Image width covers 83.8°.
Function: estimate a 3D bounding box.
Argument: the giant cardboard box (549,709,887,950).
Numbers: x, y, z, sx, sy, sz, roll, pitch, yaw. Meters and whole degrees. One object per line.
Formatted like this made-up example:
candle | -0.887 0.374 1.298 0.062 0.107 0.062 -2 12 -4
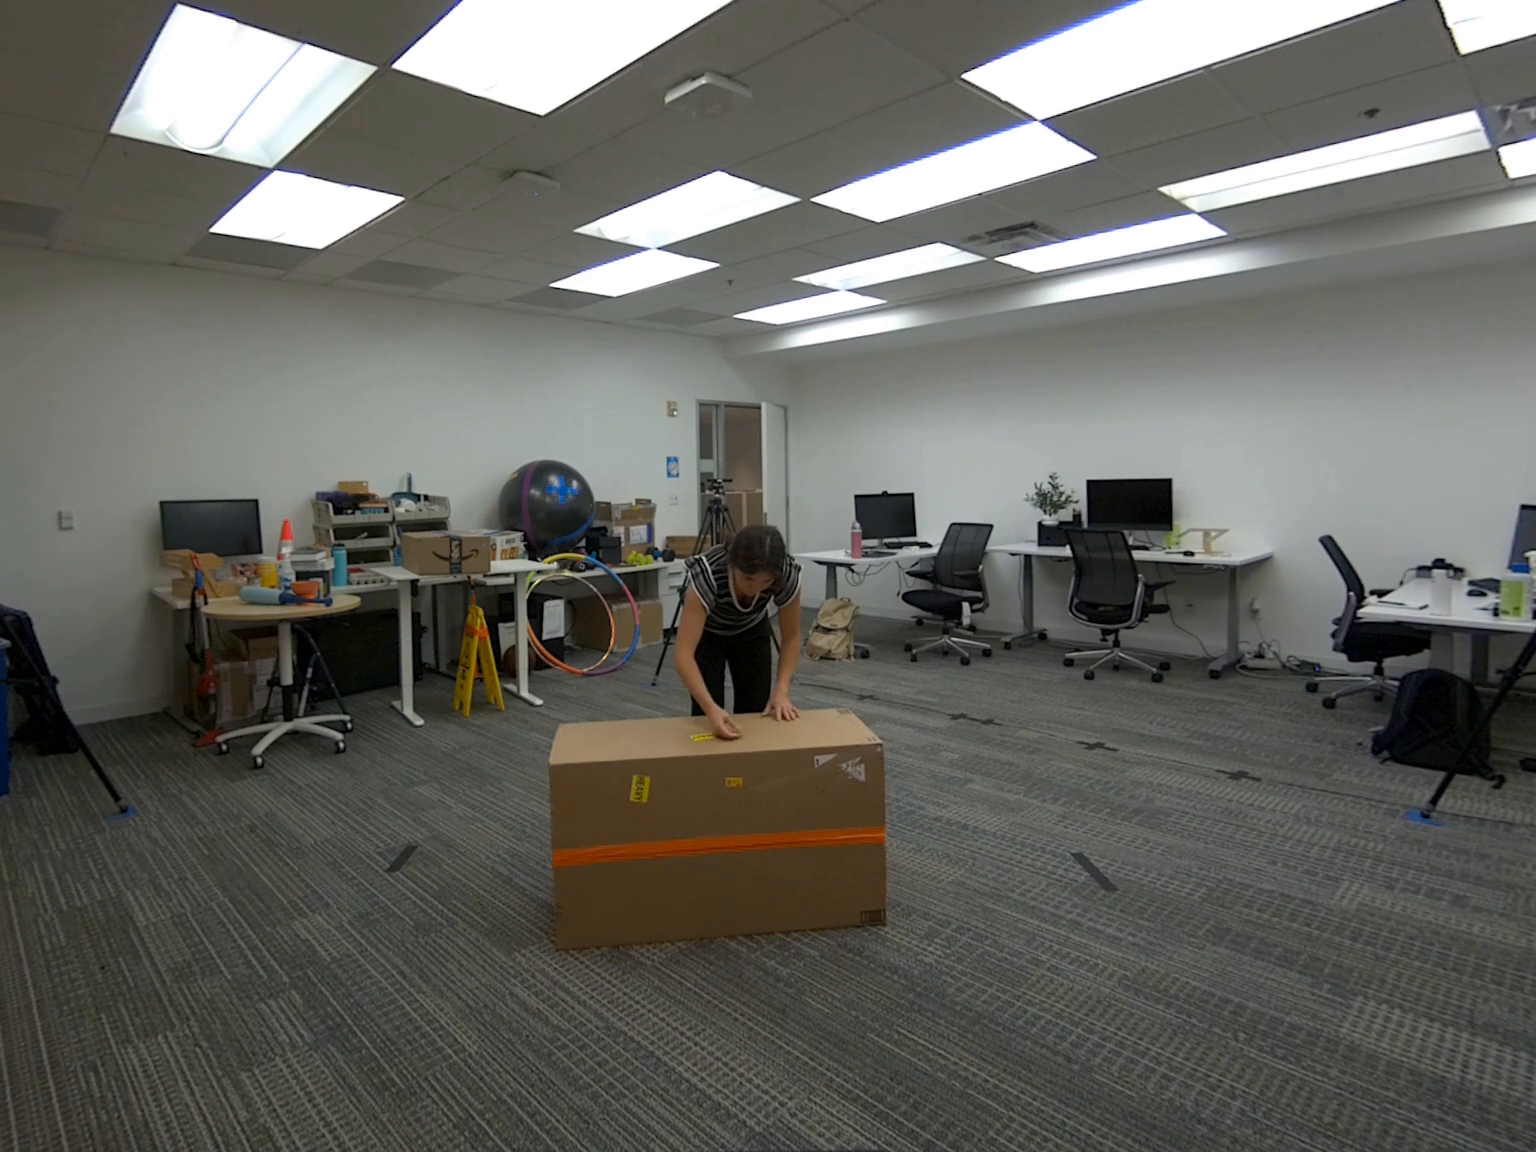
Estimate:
giant cardboard box | -0.174 0.790 2.789 1.019 0.575 0.431 -2 5 -7
